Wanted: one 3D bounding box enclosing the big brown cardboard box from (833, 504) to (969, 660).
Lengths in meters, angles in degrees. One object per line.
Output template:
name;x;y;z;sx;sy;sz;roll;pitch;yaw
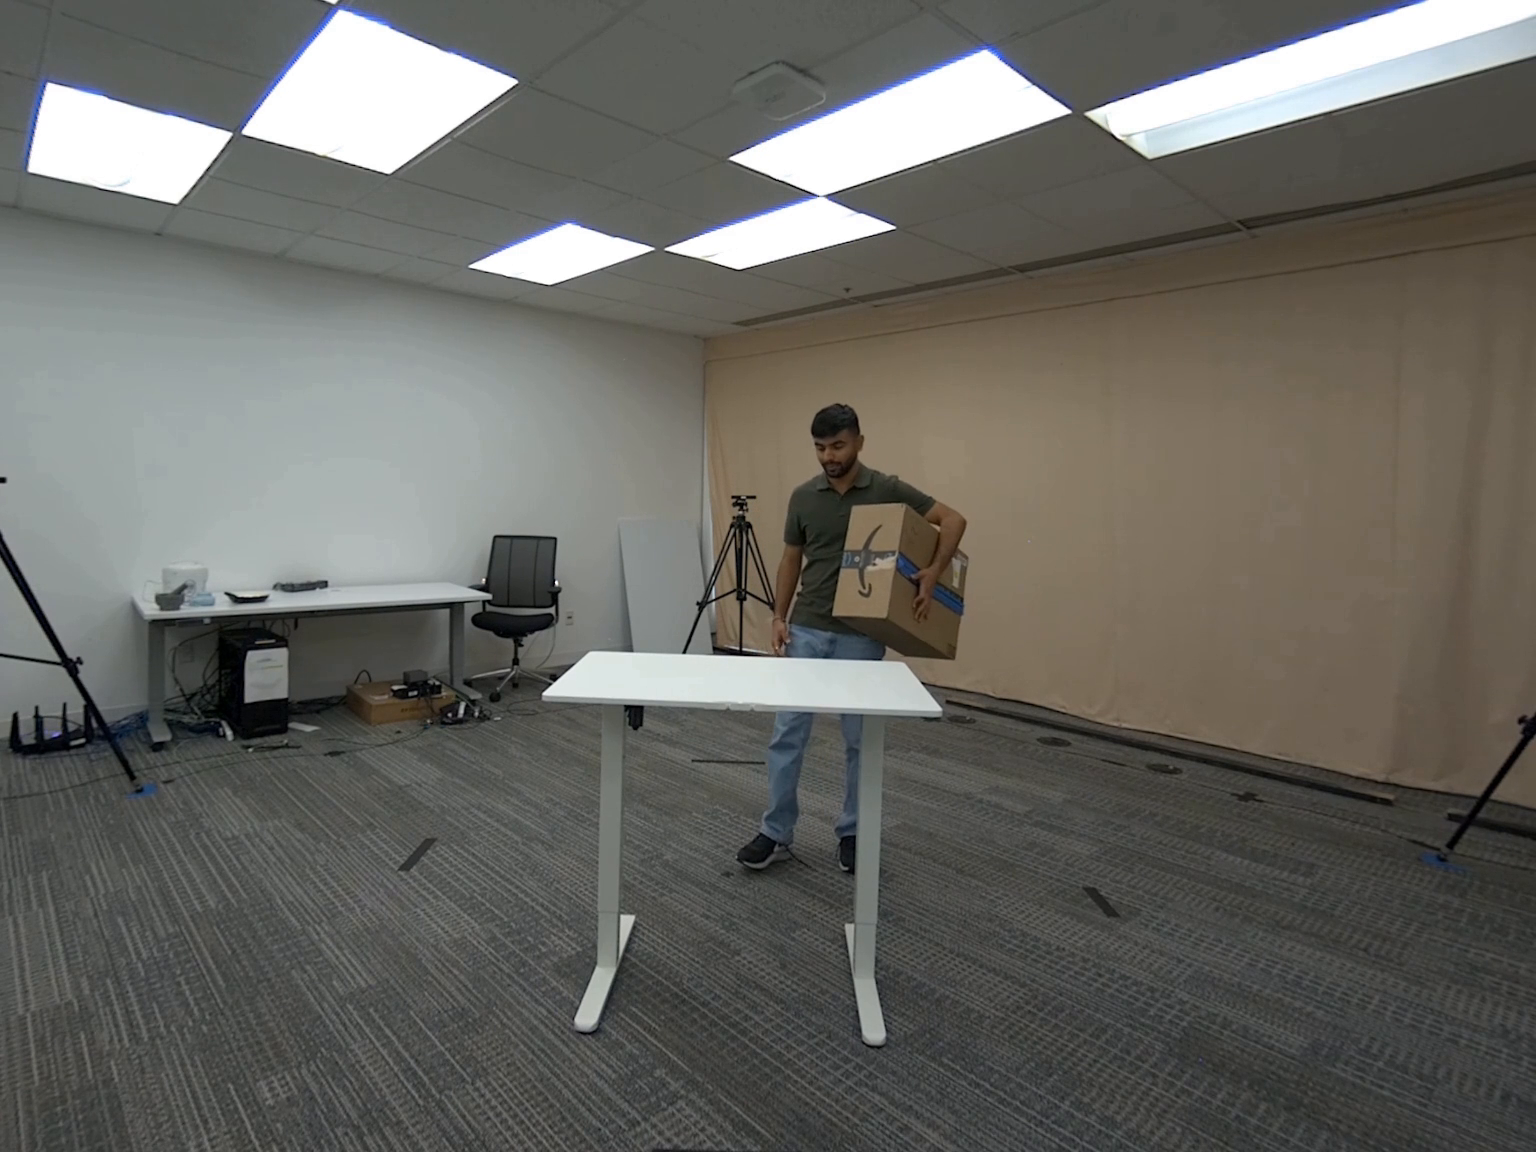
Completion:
big brown cardboard box;0.493;0.038;3.097;0.238;0.421;0.571;-1;-19;38
